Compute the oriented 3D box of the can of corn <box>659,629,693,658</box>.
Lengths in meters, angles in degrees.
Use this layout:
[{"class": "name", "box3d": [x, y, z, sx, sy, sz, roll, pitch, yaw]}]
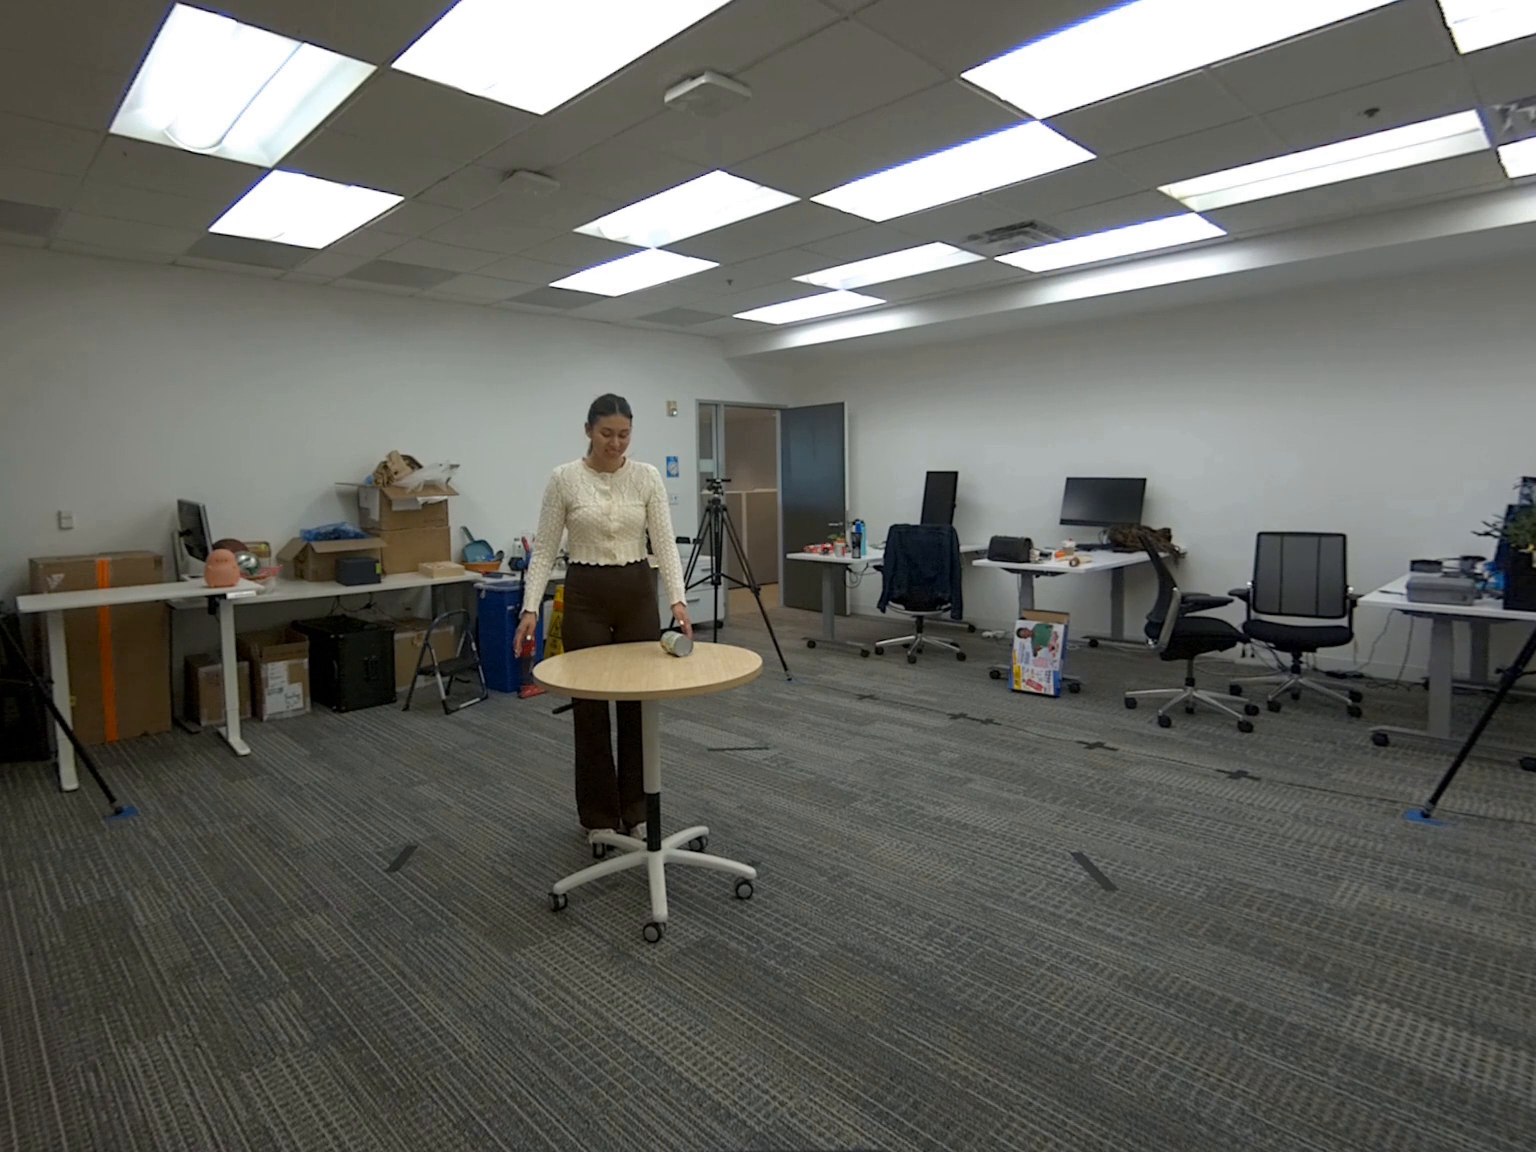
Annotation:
[{"class": "can of corn", "box3d": [-0.328, 0.240, 2.997, 0.072, 0.074, 0.114, -3, 5, -26]}]
